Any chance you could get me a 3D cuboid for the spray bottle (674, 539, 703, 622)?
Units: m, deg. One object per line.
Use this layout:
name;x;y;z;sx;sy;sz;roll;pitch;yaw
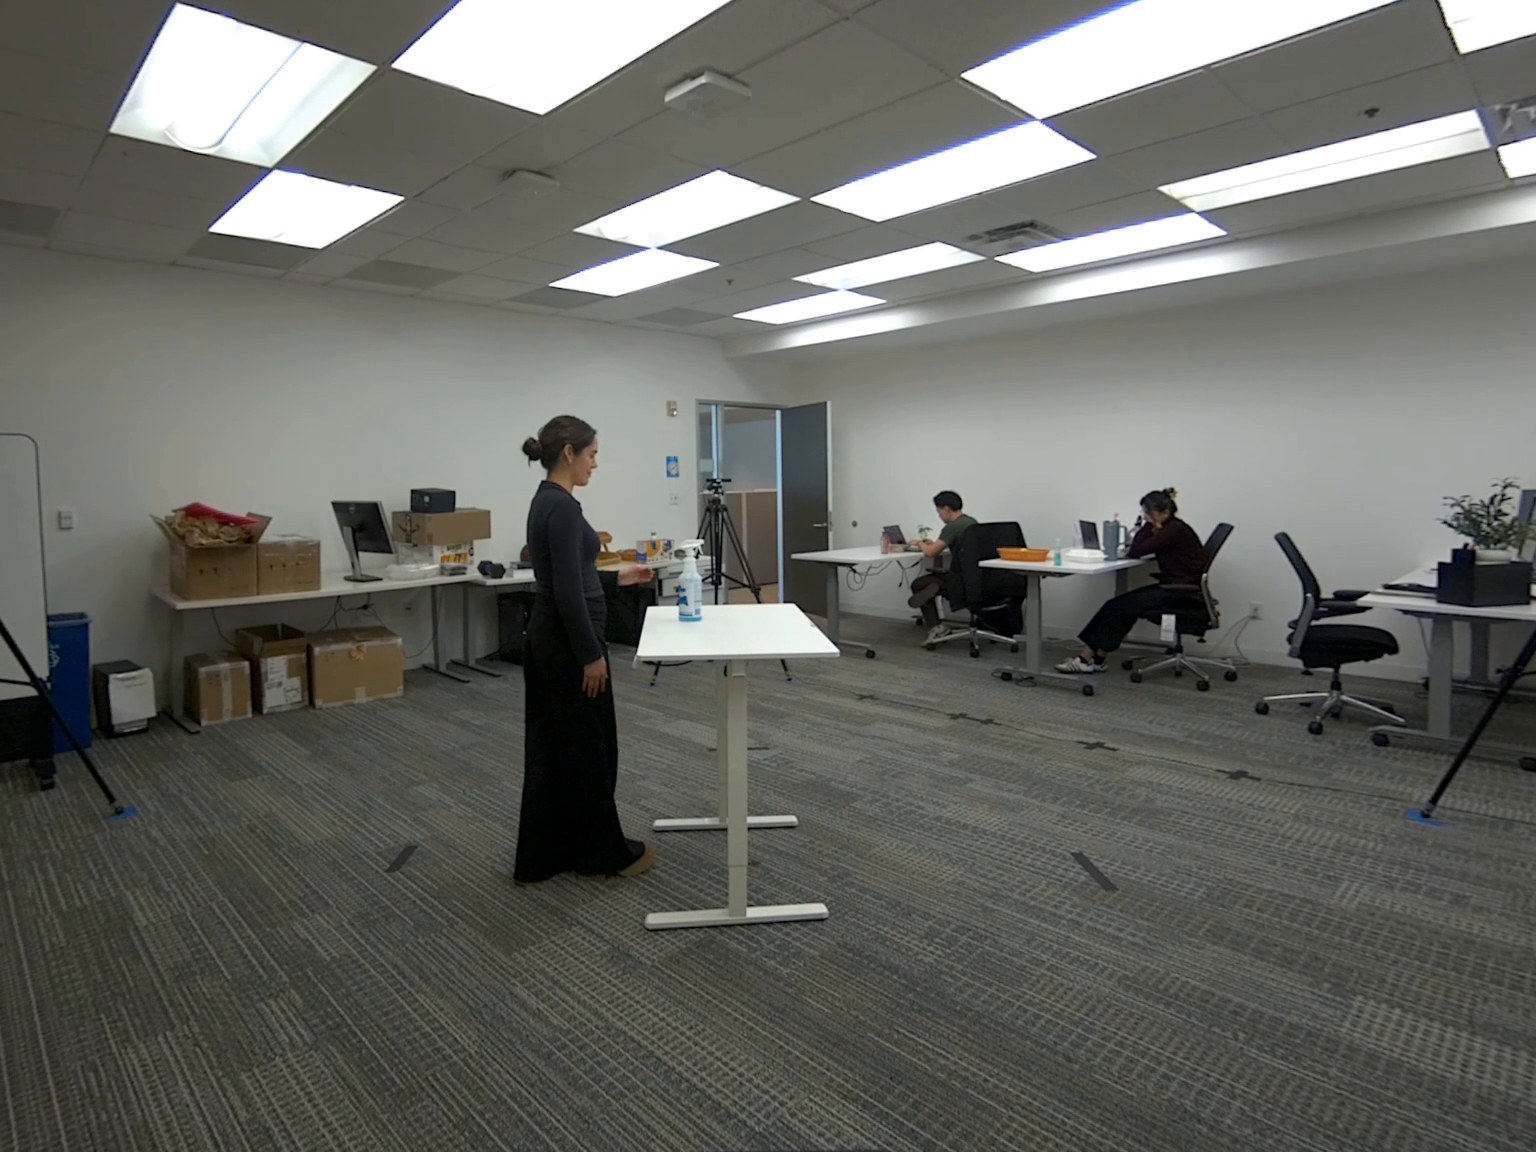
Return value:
spray bottle;-0.286;0.017;3.137;0.092;0.297;0.085;3;2;18
